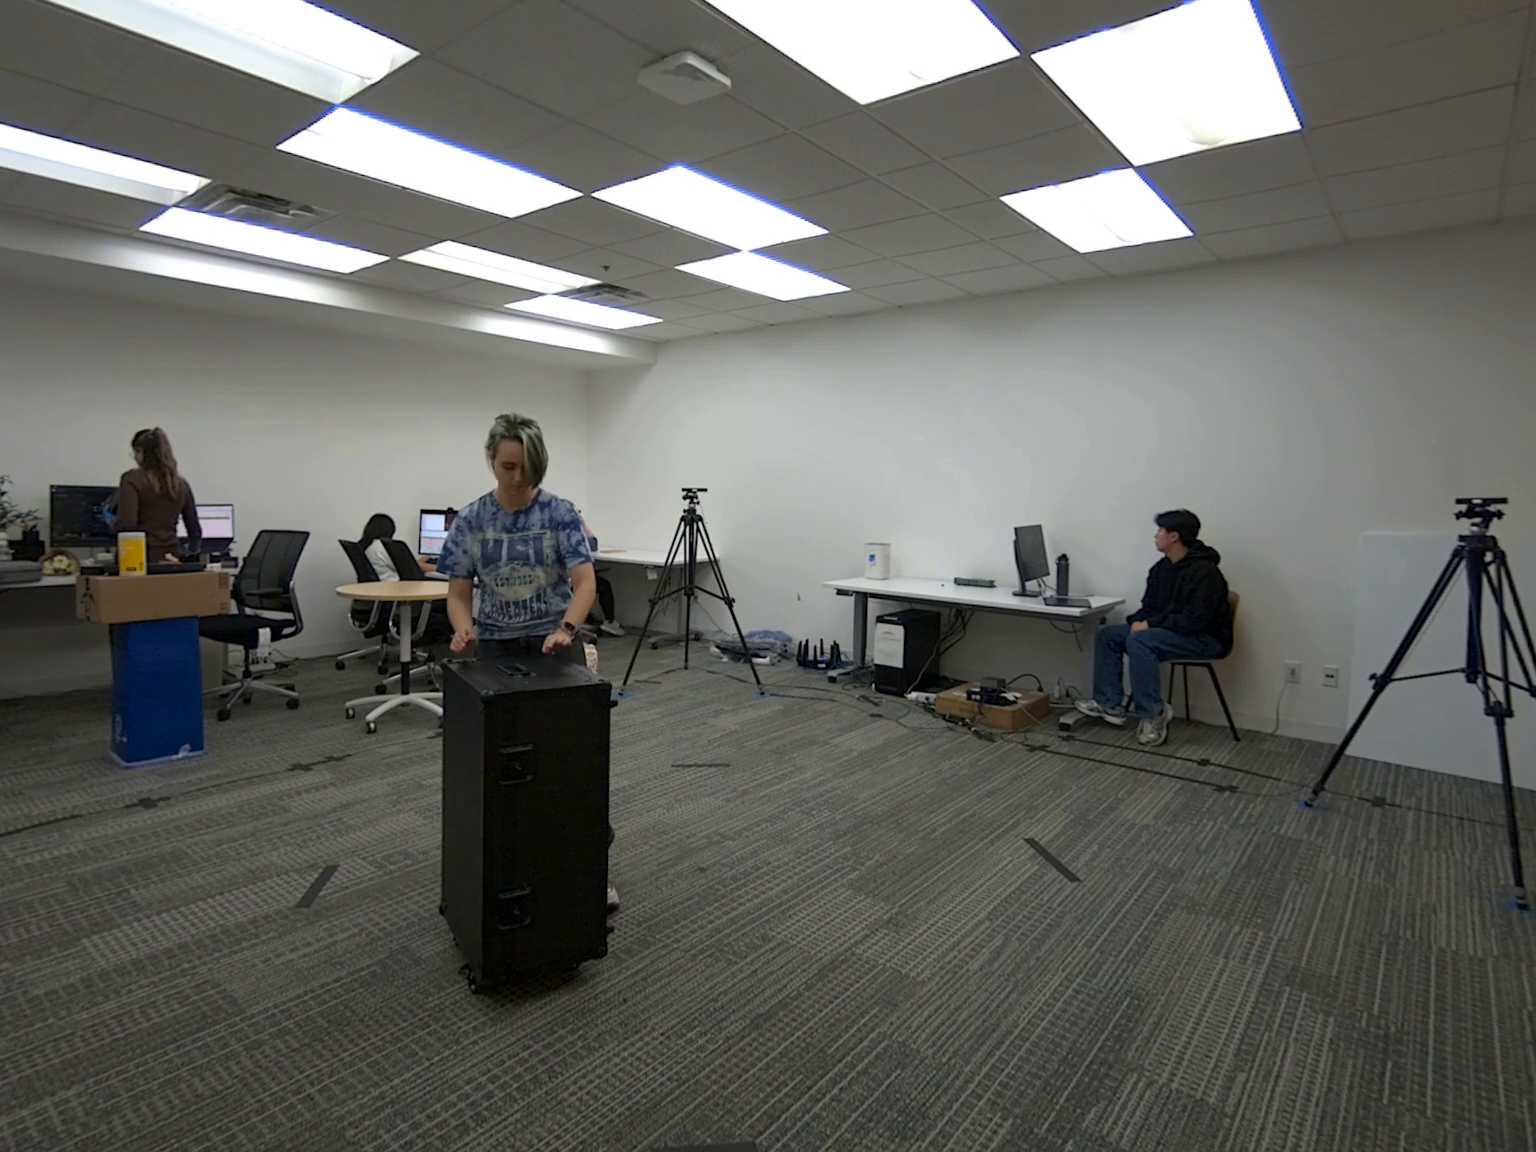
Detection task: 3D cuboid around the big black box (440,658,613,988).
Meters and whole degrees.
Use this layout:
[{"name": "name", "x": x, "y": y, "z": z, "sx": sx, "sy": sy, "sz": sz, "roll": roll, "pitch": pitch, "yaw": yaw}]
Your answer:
[{"name": "big black box", "x": -0.729, "y": 0.701, "z": 2.490, "sx": 0.385, "sy": 0.859, "sz": 0.537, "roll": 0, "pitch": 3, "yaw": -32}]
